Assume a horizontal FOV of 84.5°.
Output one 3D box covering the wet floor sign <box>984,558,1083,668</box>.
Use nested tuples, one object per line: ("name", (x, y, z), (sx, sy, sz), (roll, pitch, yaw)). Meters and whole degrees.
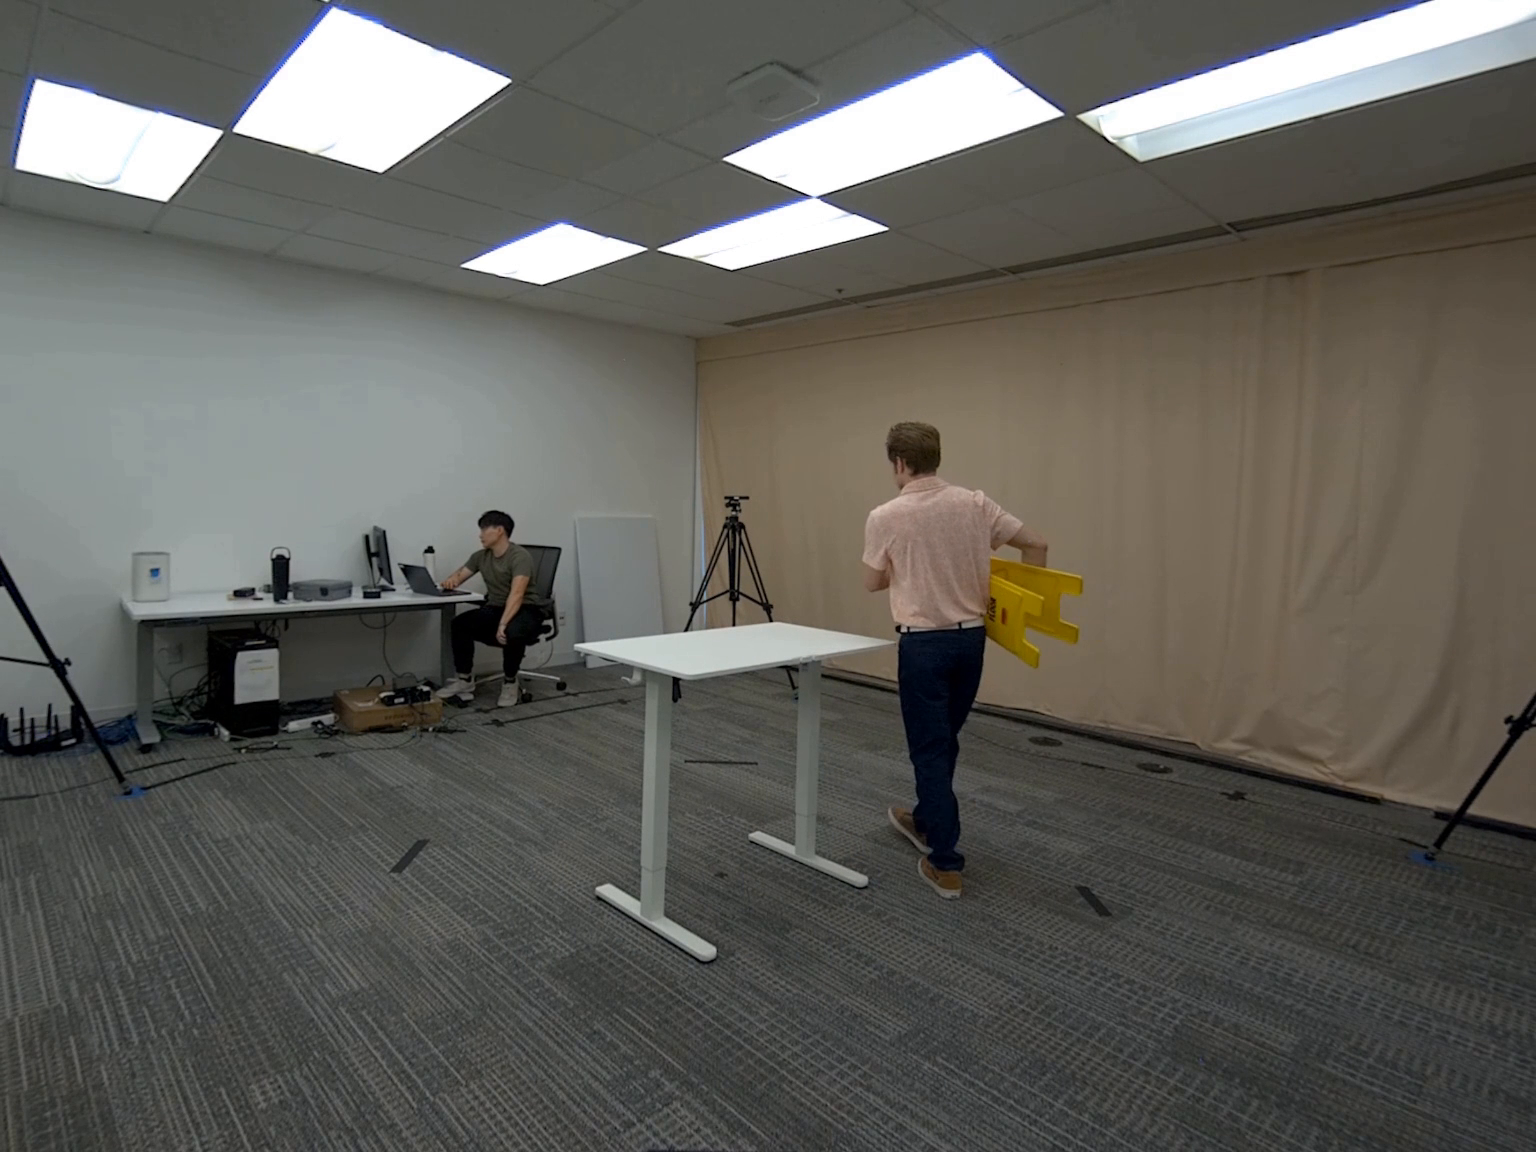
("wet floor sign", (0.810, 0.067, 3.199), (0.286, 0.277, 0.666), (-19, 30, -31))
